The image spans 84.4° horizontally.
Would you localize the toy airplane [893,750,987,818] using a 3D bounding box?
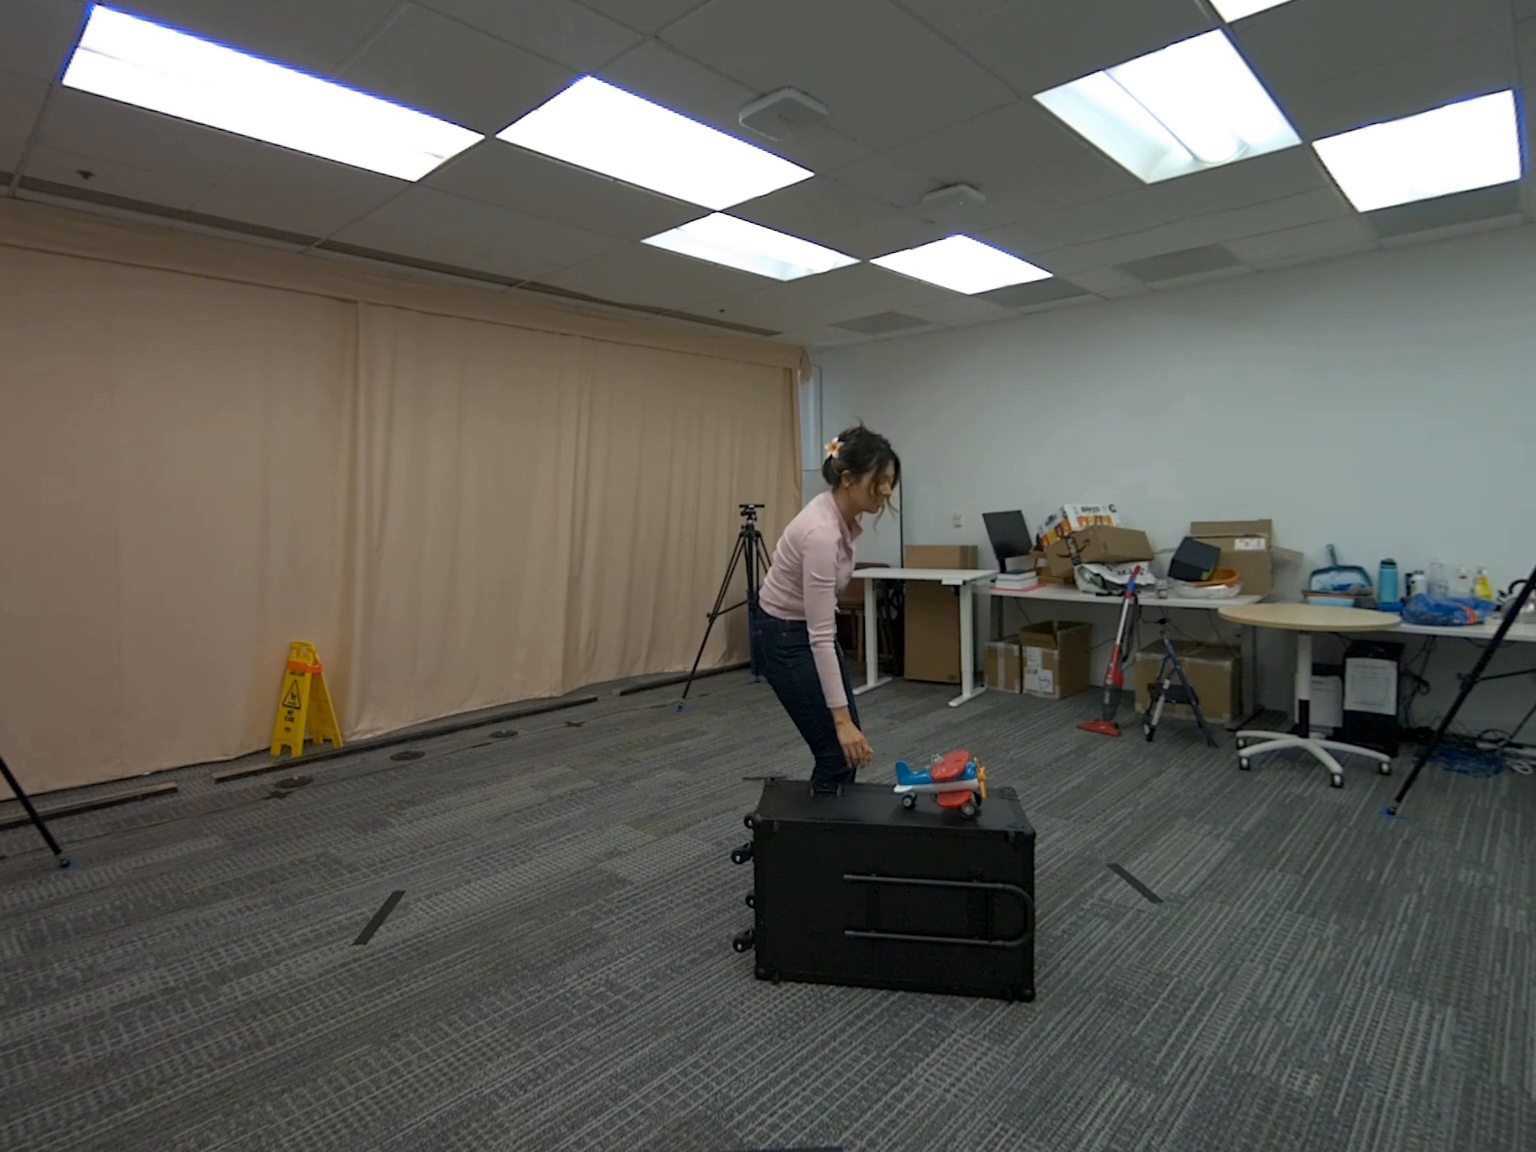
[{"bbox_3d":[0.515,0.616,2.470,0.258,0.156,0.253,0,4,-5],"label":"toy airplane"}]
